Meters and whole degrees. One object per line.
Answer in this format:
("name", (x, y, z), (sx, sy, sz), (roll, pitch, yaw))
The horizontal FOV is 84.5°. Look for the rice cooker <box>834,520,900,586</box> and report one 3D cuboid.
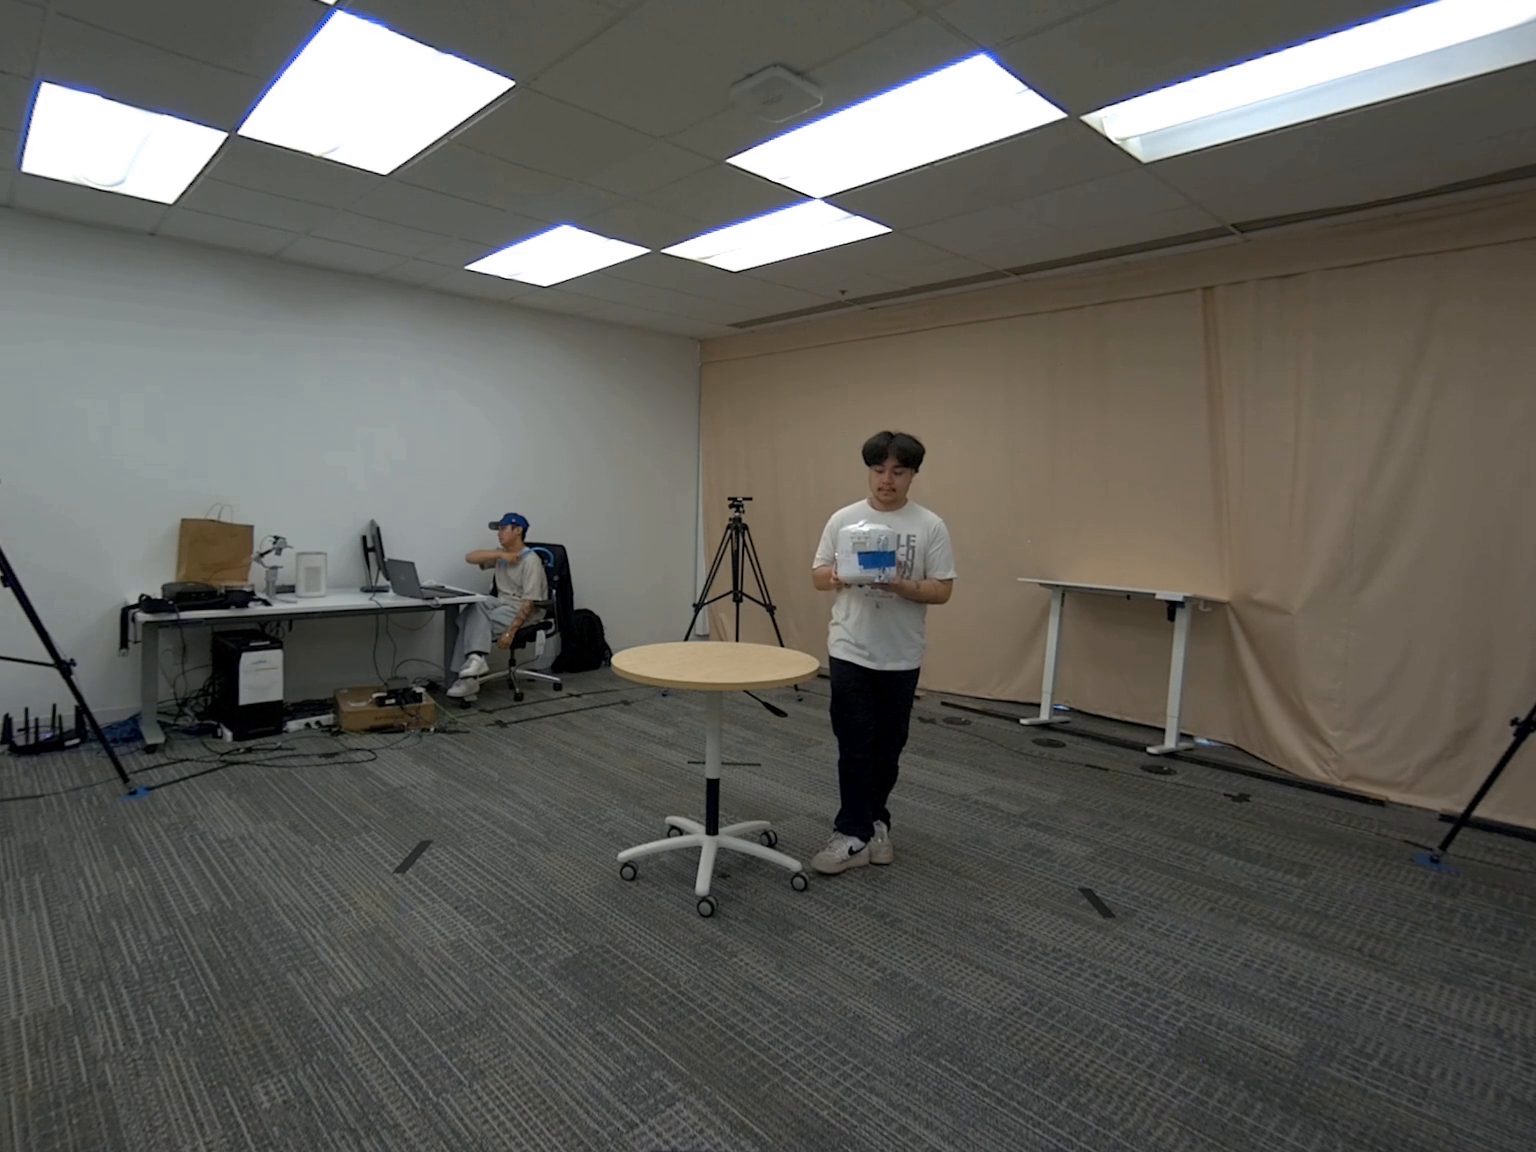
("rice cooker", (0.343, -0.089, 3.017), (0.221, 0.233, 0.216), (-1, -4, 22))
